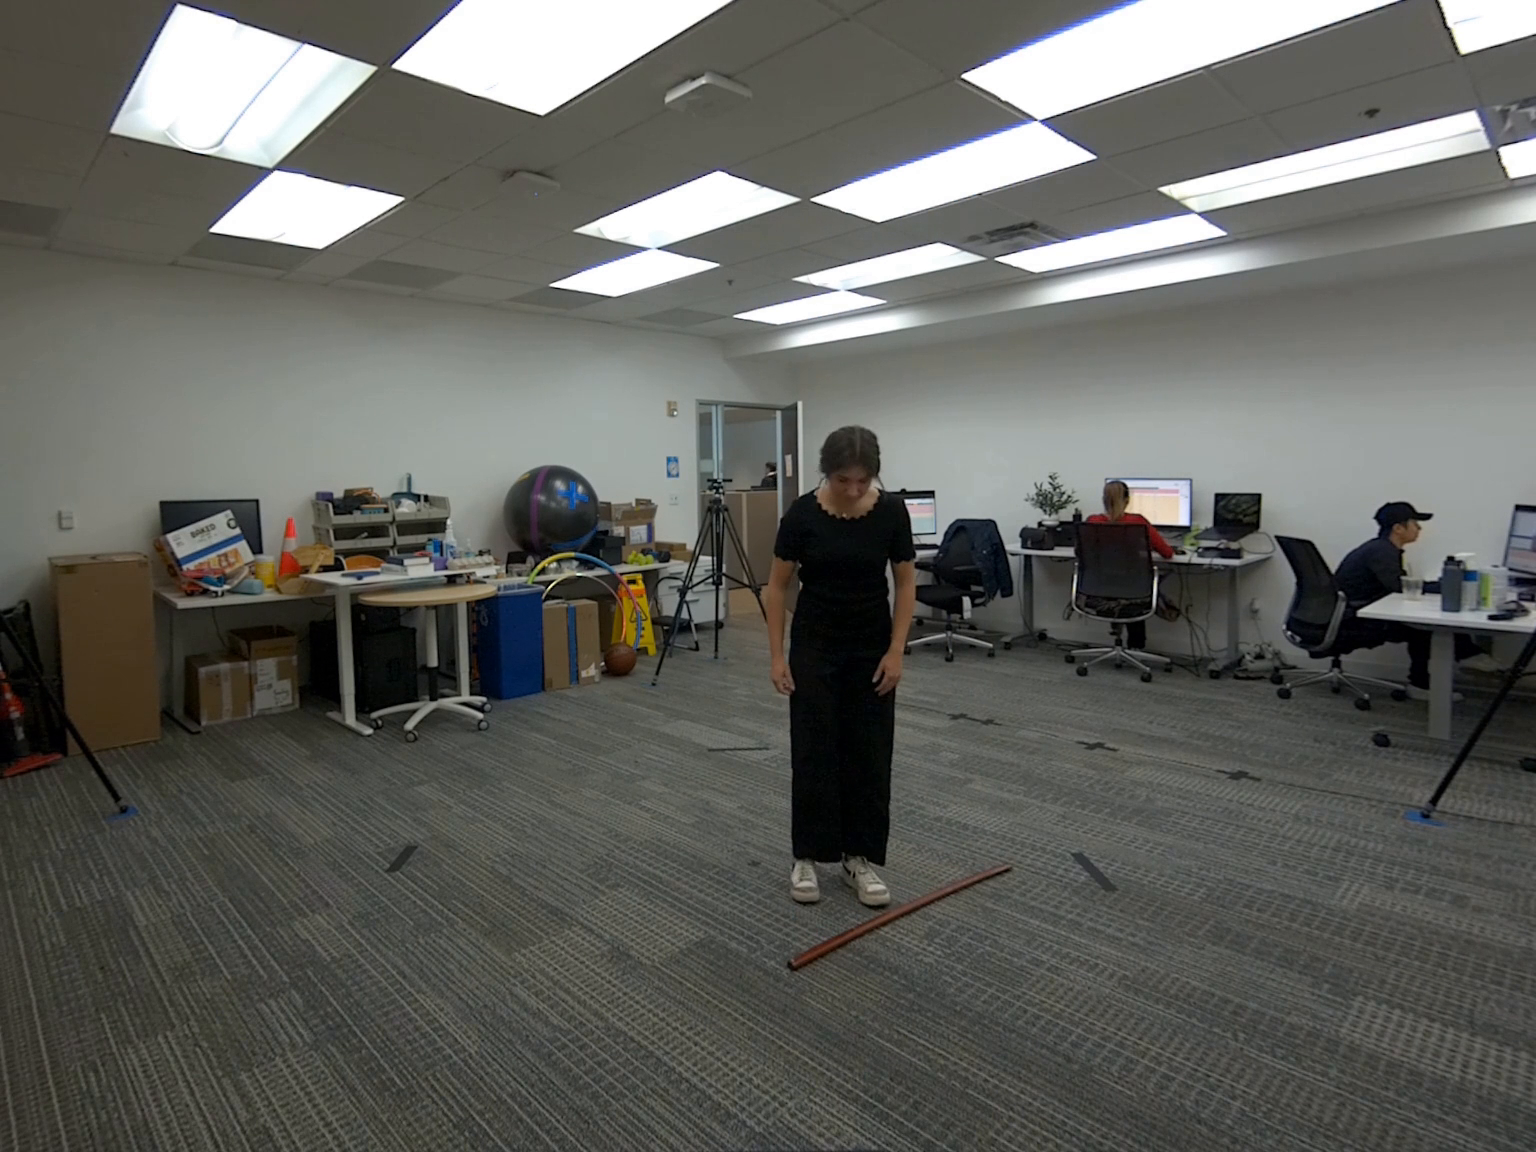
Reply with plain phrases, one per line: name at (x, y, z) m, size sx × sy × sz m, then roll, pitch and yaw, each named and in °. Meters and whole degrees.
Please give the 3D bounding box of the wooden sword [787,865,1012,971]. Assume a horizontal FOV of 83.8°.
wooden sword at (0.457, 1.061, 2.739) m, size 0.999 × 0.024 × 0.053 m, roll -6°, pitch 13°, yaw -37°
